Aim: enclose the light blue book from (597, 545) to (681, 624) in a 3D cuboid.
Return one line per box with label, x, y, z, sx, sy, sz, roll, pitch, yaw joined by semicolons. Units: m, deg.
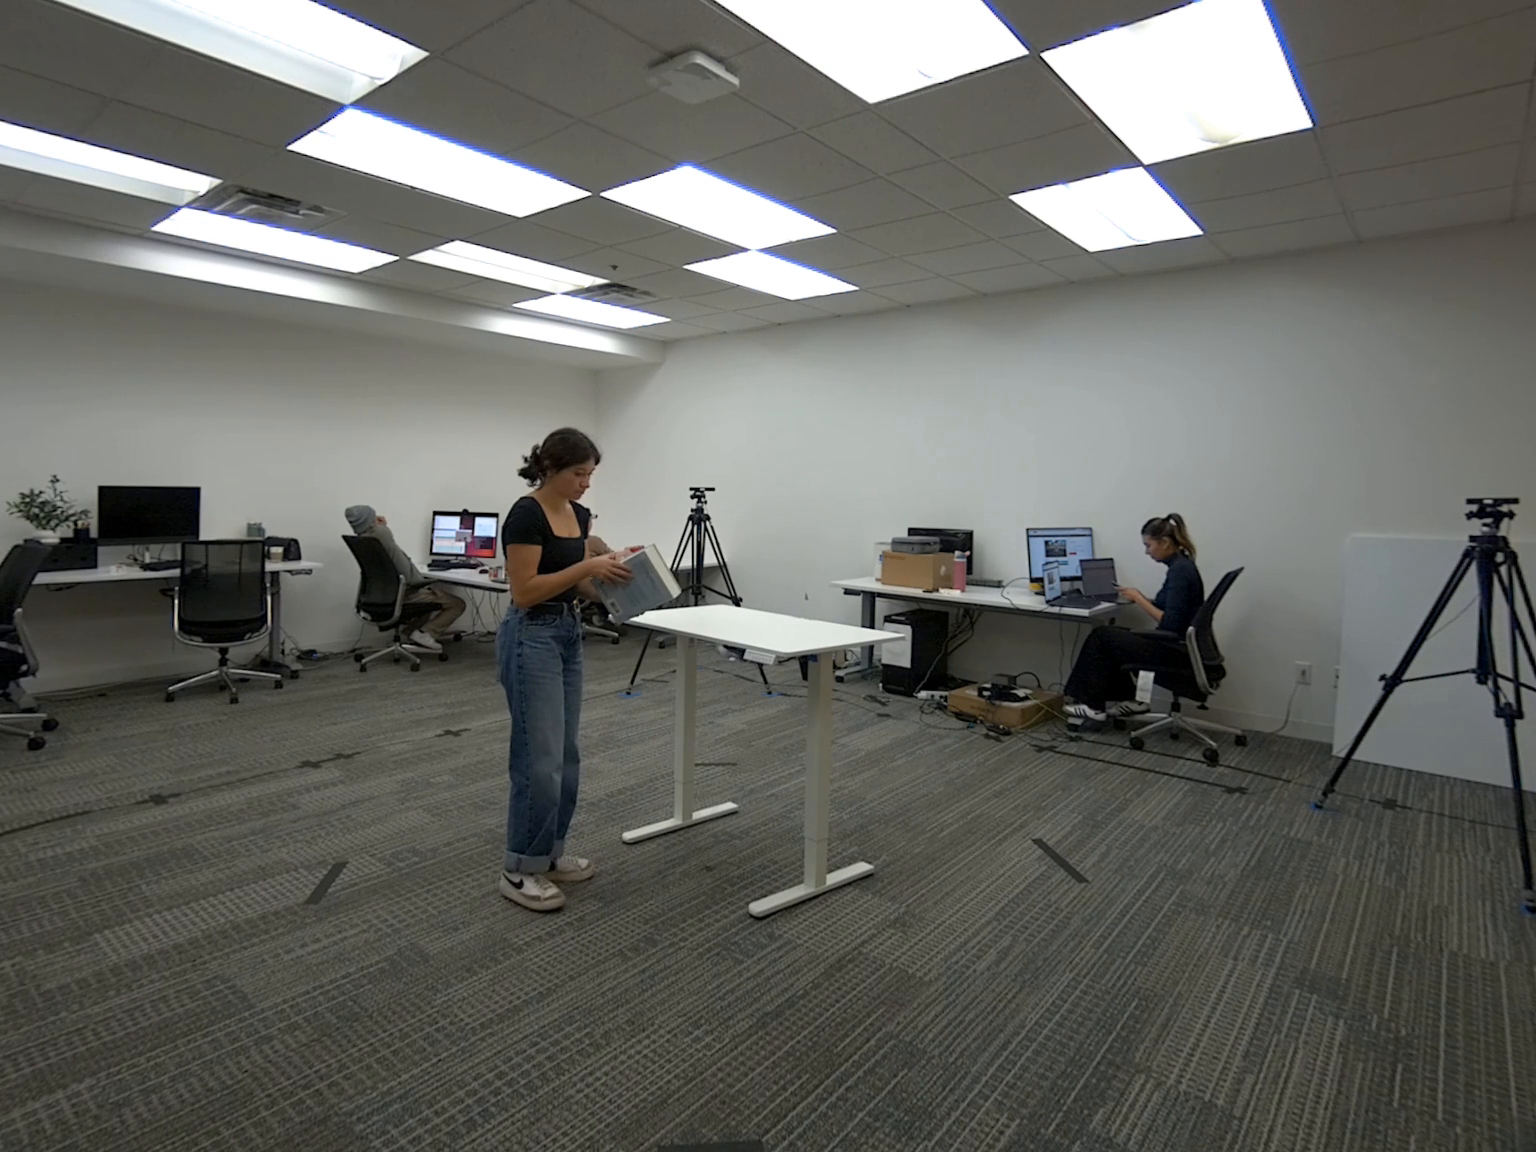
light blue book;-0.461;0.030;2.842;0.265;0.190;0.058;-25;6;30
